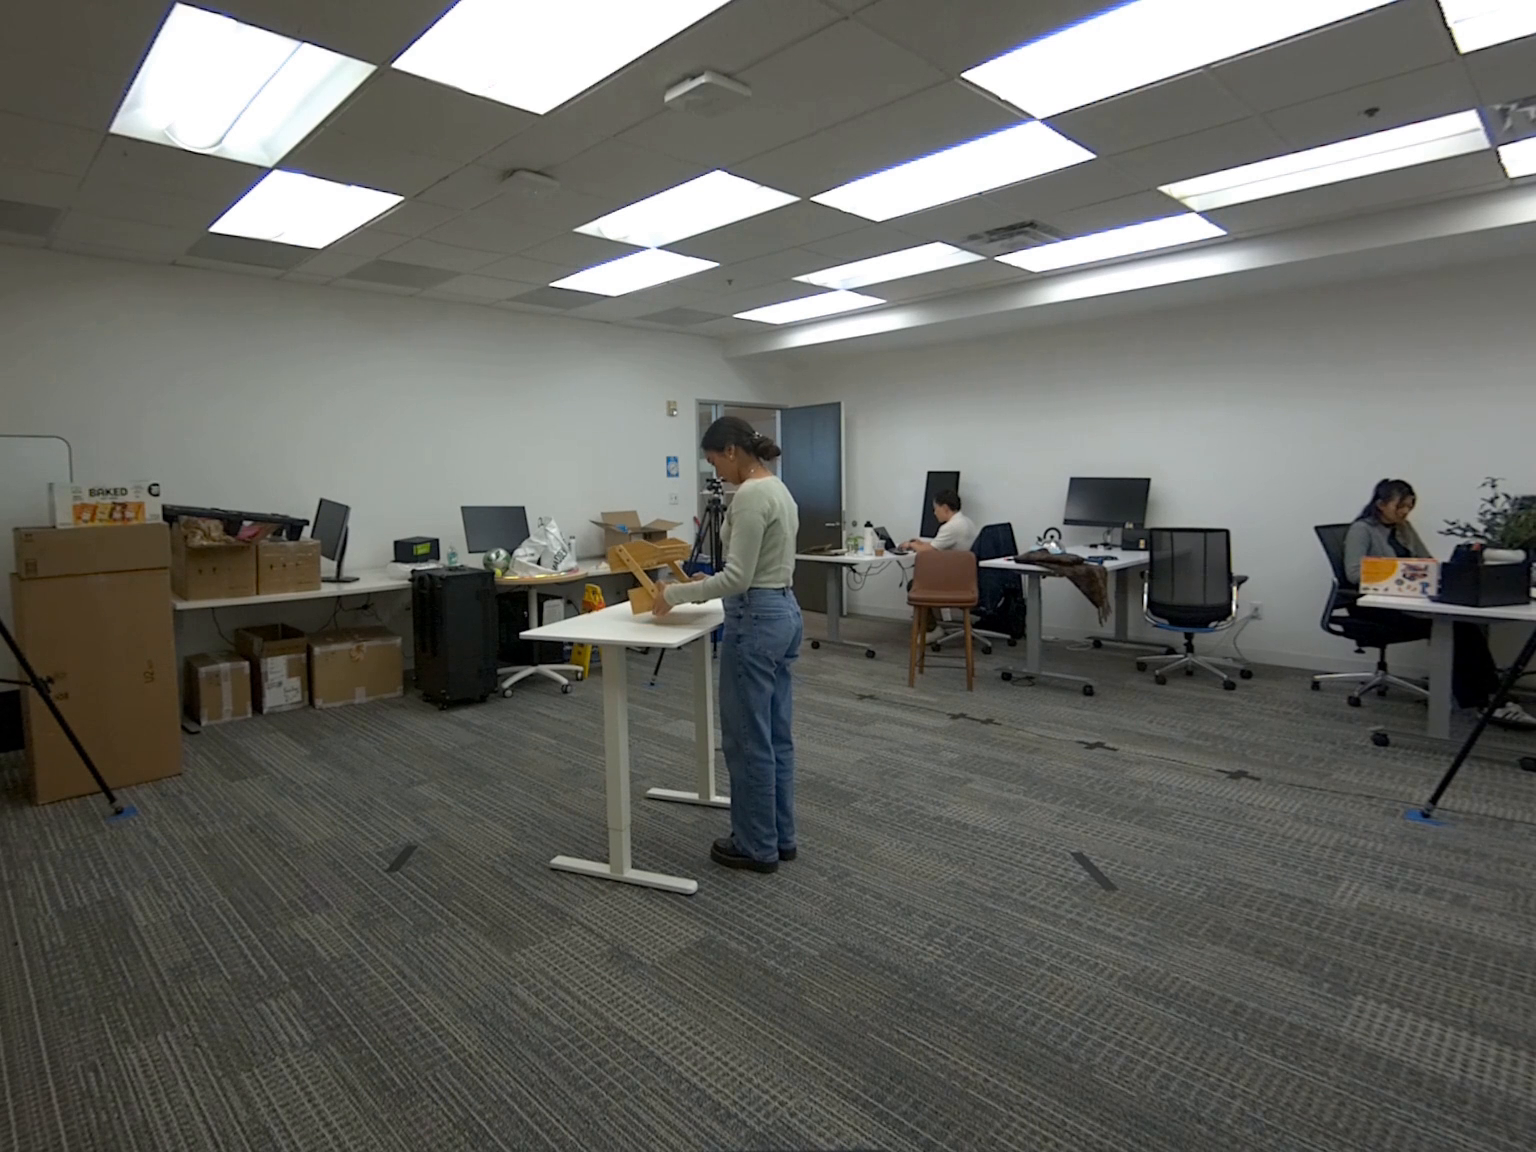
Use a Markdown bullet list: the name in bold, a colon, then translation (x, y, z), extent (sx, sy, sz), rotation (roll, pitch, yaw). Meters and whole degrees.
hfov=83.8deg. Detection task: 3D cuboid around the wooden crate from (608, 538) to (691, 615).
- **wooden crate**: translation (-0.374, -0.020, 3.211), extent (0.306, 0.274, 0.319), rotation (-14, -2, 19)
